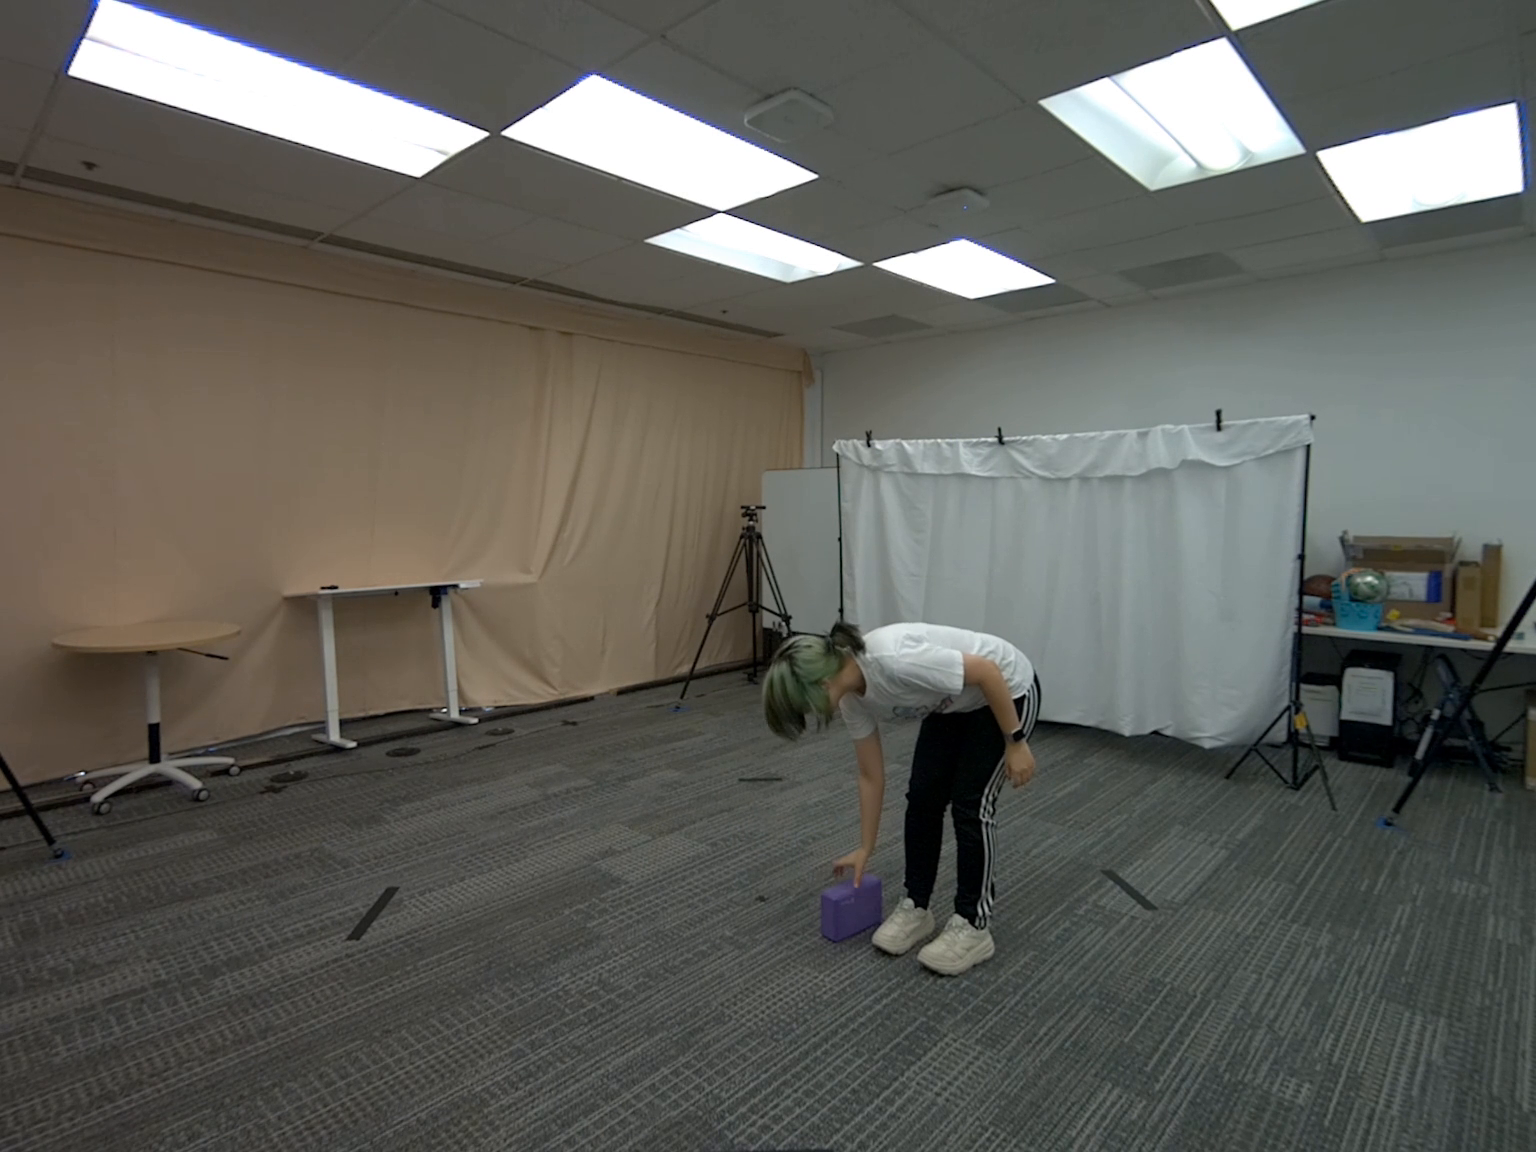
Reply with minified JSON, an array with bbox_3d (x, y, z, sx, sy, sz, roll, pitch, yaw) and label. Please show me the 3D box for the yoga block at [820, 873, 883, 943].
[{"bbox_3d":[0.280,1.082,2.765,0.222,0.149,0.079,-4,4,-39],"label":"yoga block"}]
